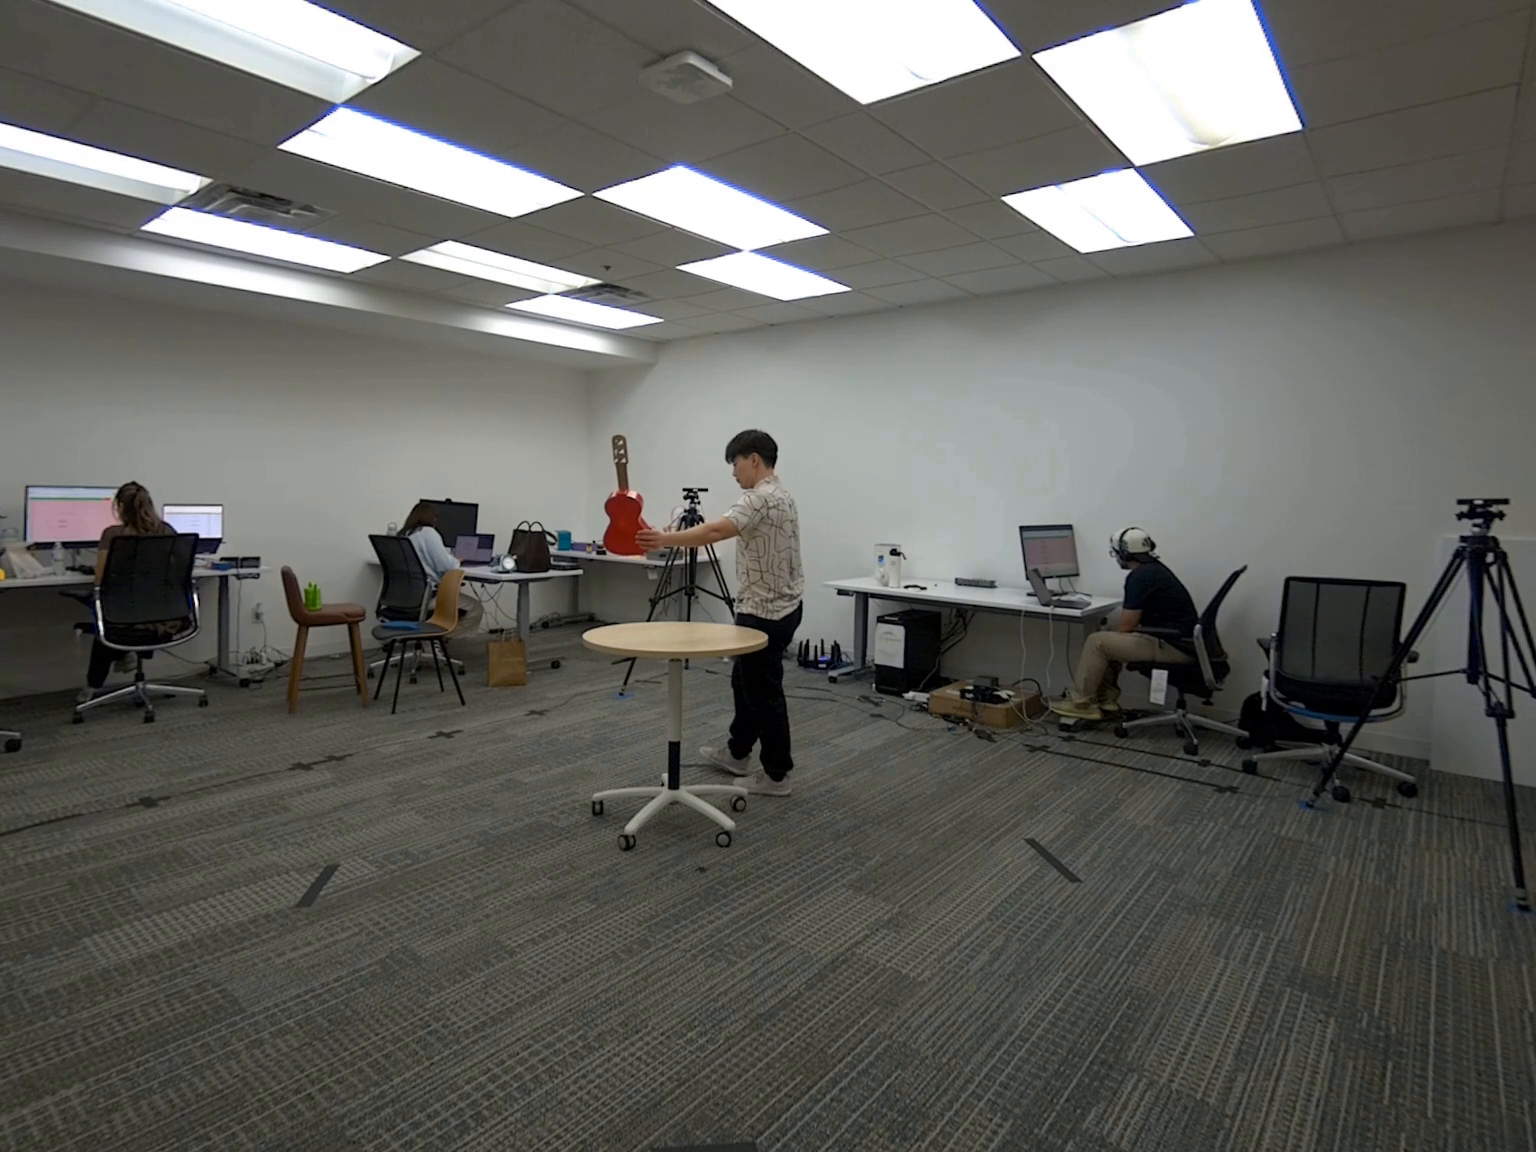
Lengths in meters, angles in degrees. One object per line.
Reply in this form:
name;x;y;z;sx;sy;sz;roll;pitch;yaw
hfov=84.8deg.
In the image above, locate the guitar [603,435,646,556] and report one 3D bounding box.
guitar;-0.608;-0.314;3.351;0.195;0.484;0.072;-7;26;10
